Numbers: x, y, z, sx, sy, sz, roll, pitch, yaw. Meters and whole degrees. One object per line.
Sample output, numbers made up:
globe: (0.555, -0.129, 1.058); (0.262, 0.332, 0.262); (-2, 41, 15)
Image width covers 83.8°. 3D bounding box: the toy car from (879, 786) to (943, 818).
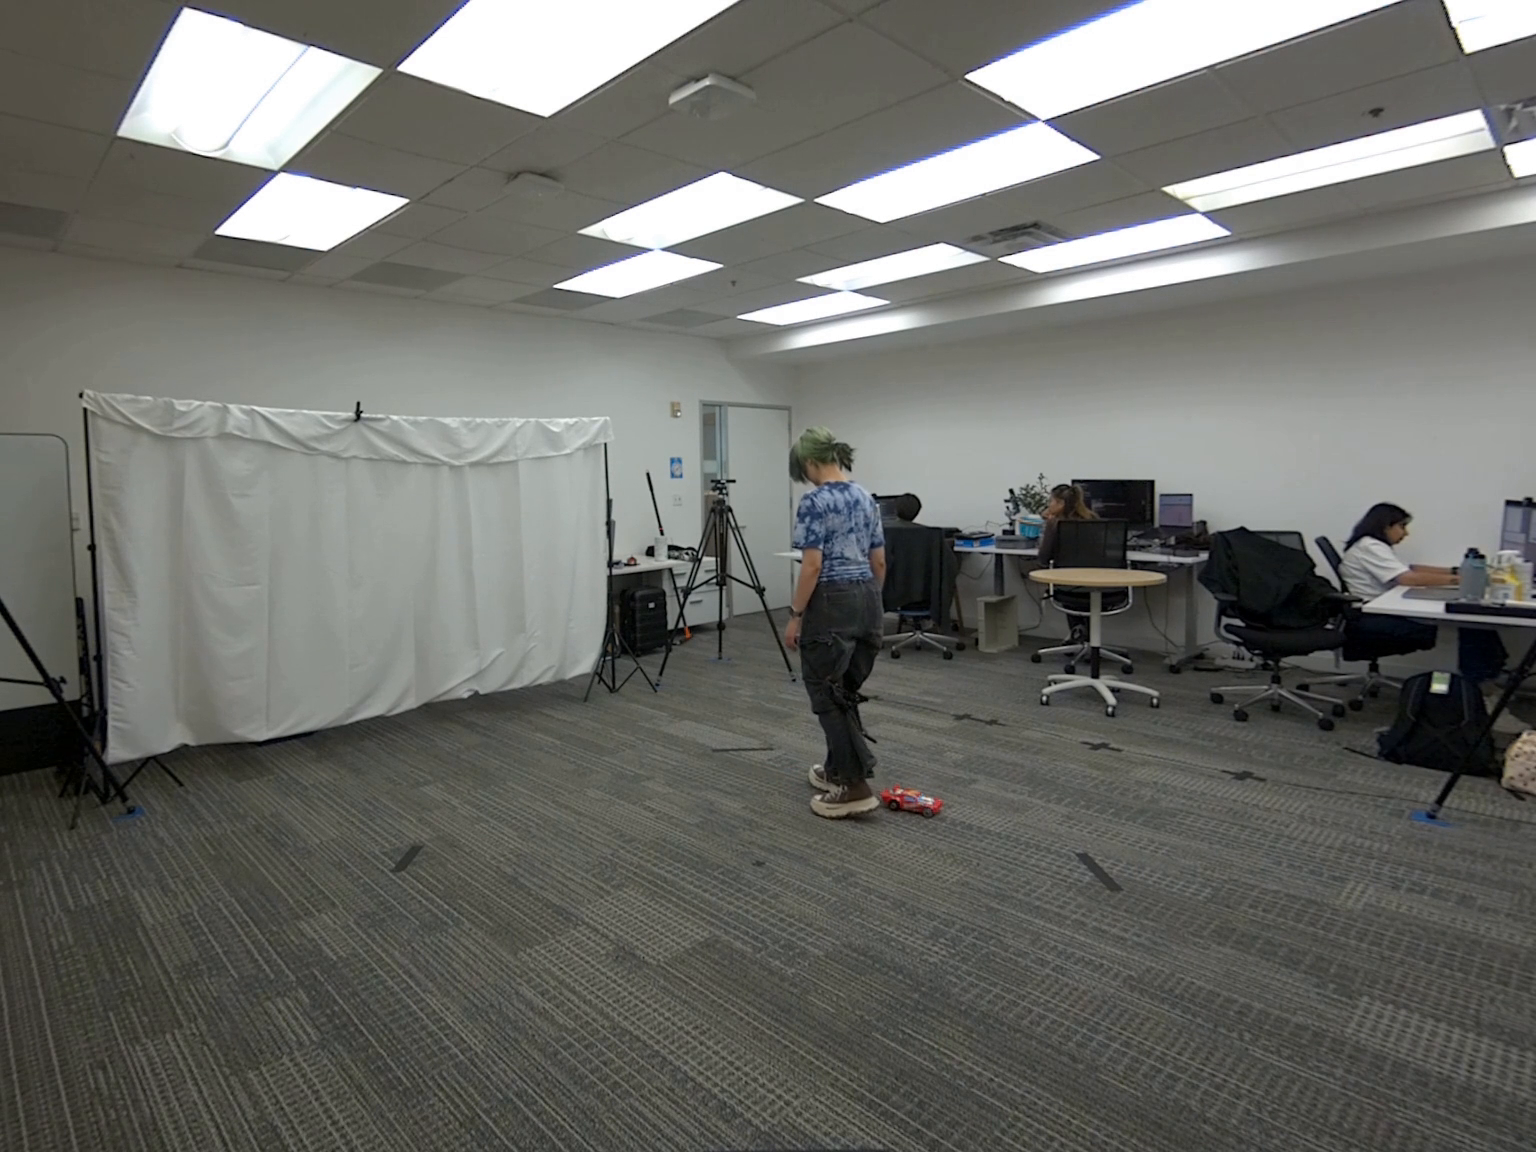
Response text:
toy car: (0.590, 0.943, 3.601); (0.262, 0.082, 0.127); (15, 14, 29)
